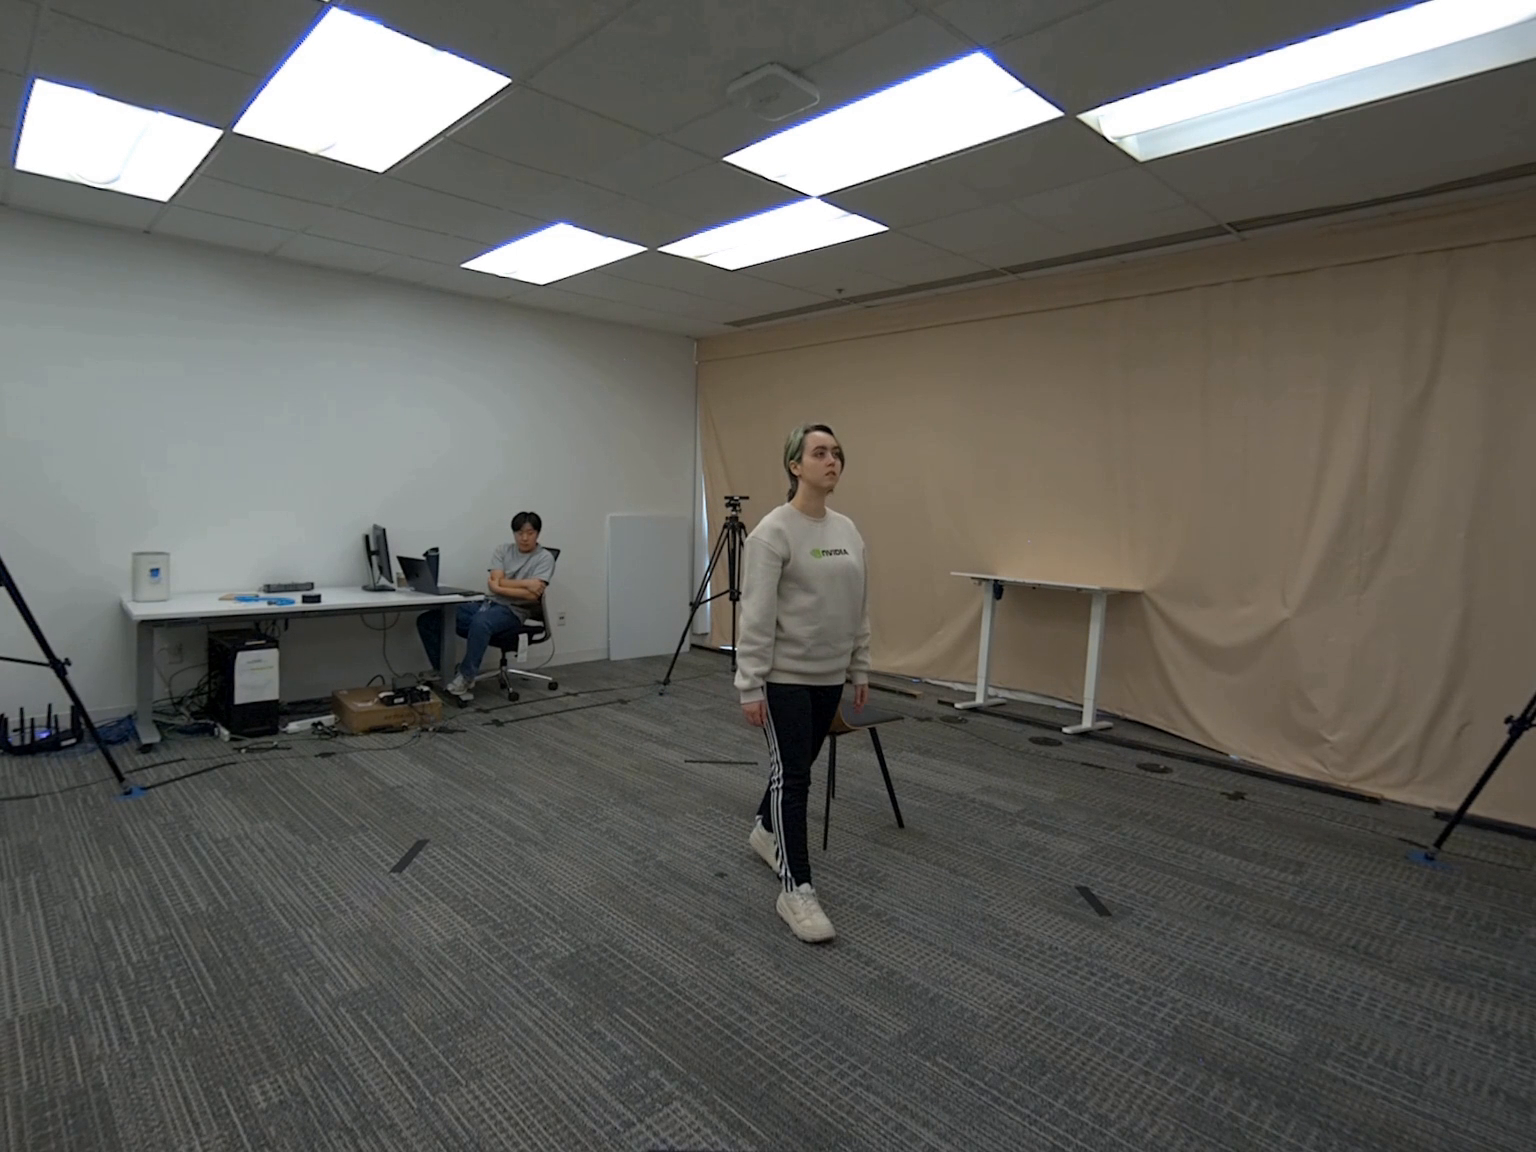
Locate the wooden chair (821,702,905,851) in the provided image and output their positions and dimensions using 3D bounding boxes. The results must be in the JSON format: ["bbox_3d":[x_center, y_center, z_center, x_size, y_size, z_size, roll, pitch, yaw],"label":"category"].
[{"bbox_3d":[0.280,0.642,3.630,0.512,0.874,0.490,-6,7,-36],"label":"wooden chair"}]
